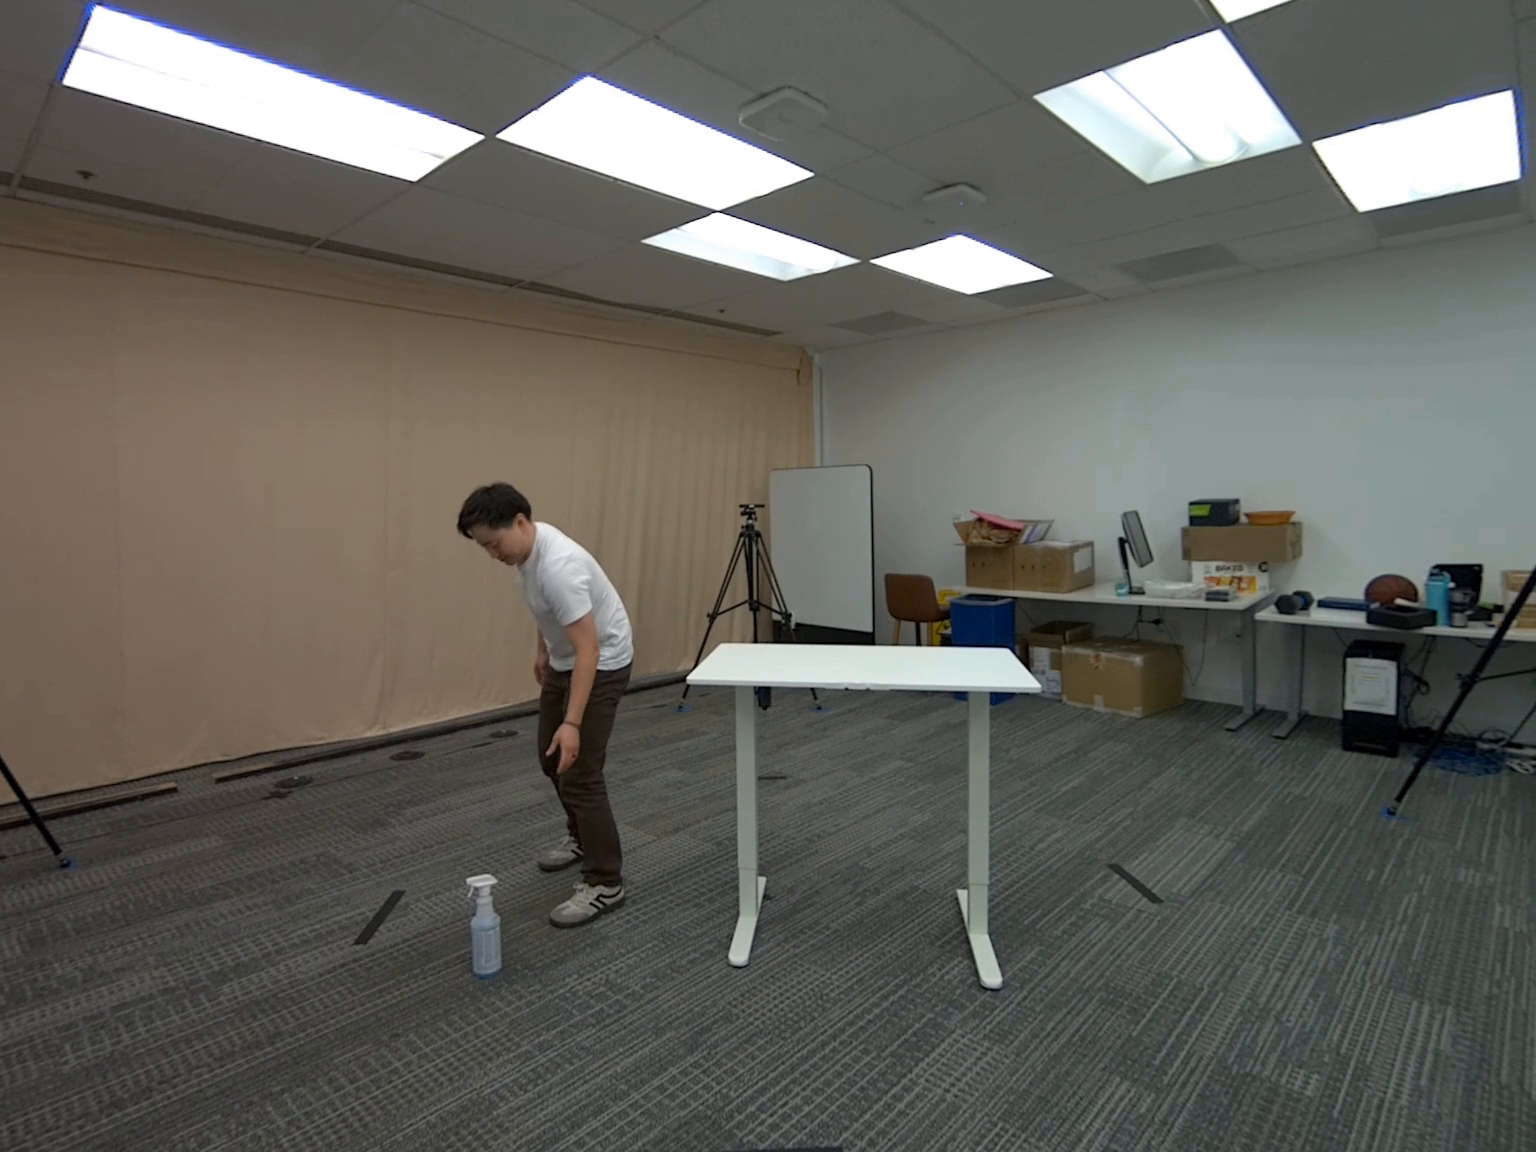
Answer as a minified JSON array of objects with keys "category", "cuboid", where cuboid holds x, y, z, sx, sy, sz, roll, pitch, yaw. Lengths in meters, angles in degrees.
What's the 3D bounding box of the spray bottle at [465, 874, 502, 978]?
[{"category":"spray bottle","cuboid":[-0.852,1.049,2.541,0.089,0.296,0.088,-2,4,-7]}]
